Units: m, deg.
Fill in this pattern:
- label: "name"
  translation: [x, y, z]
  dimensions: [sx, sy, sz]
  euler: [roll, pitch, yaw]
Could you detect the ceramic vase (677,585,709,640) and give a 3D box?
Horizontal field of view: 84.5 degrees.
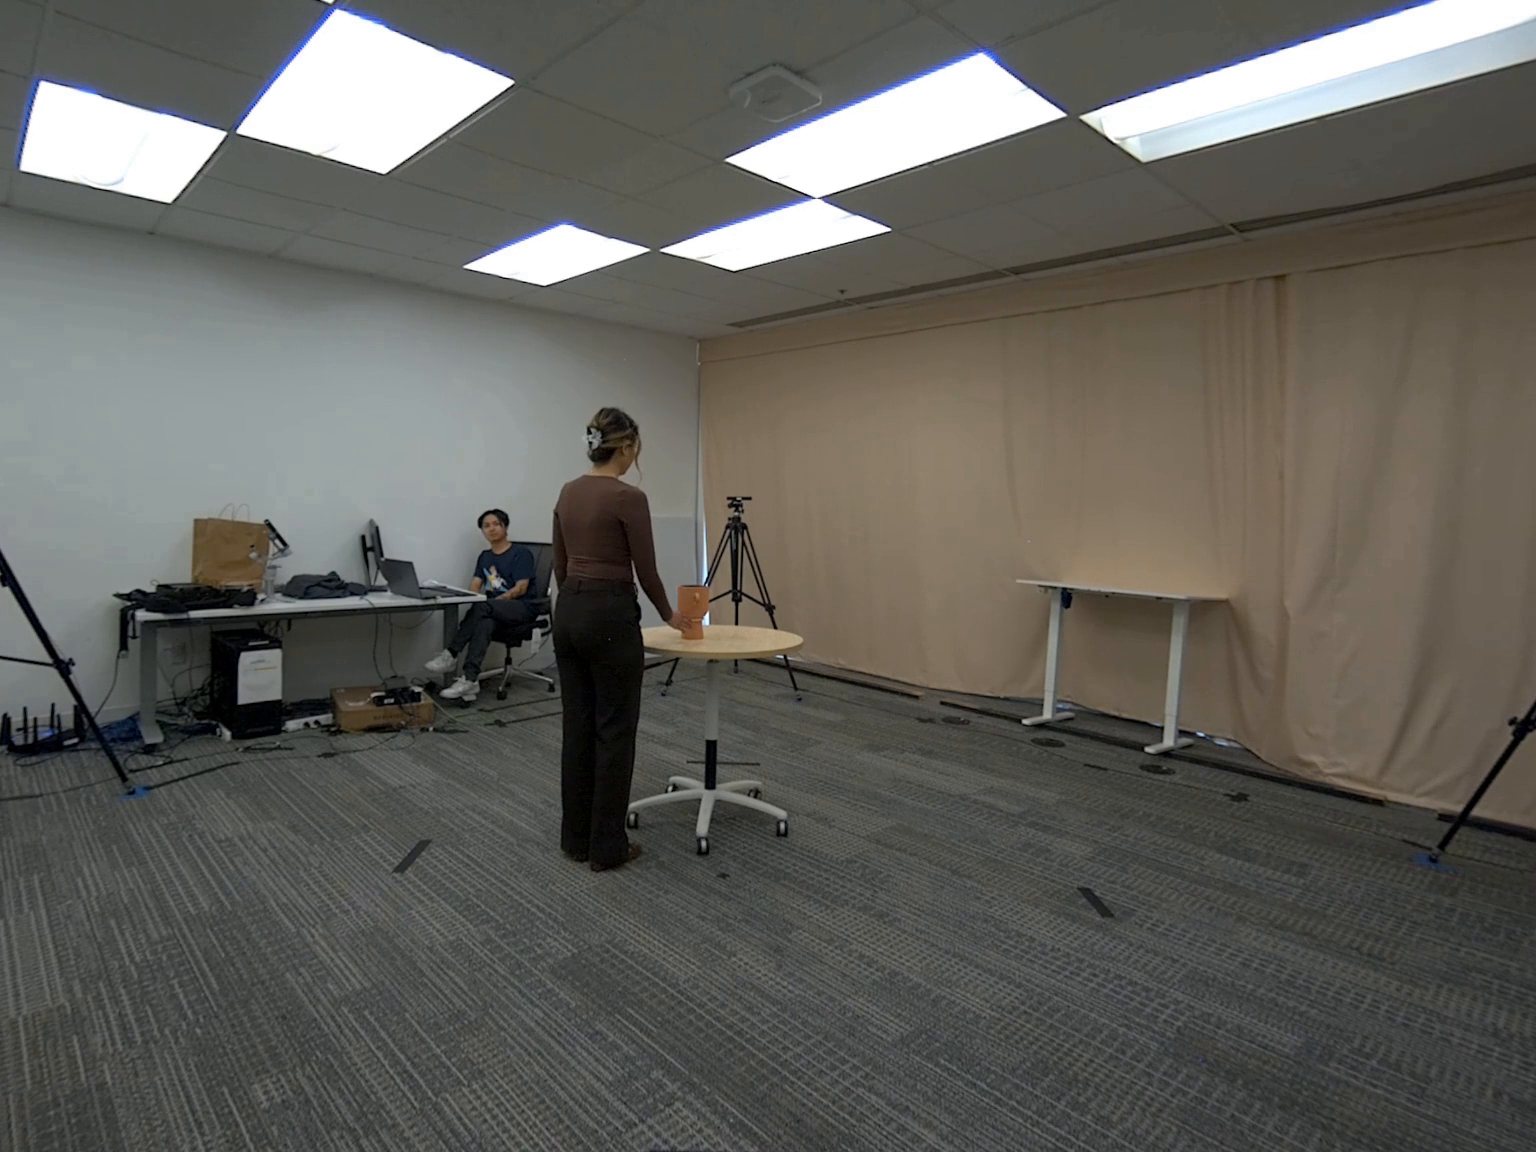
- label: "ceramic vase"
  translation: [-0.329, 0.155, 3.570]
  dimensions: [0.137, 0.219, 0.156]
  euler: [1, 1, 23]
